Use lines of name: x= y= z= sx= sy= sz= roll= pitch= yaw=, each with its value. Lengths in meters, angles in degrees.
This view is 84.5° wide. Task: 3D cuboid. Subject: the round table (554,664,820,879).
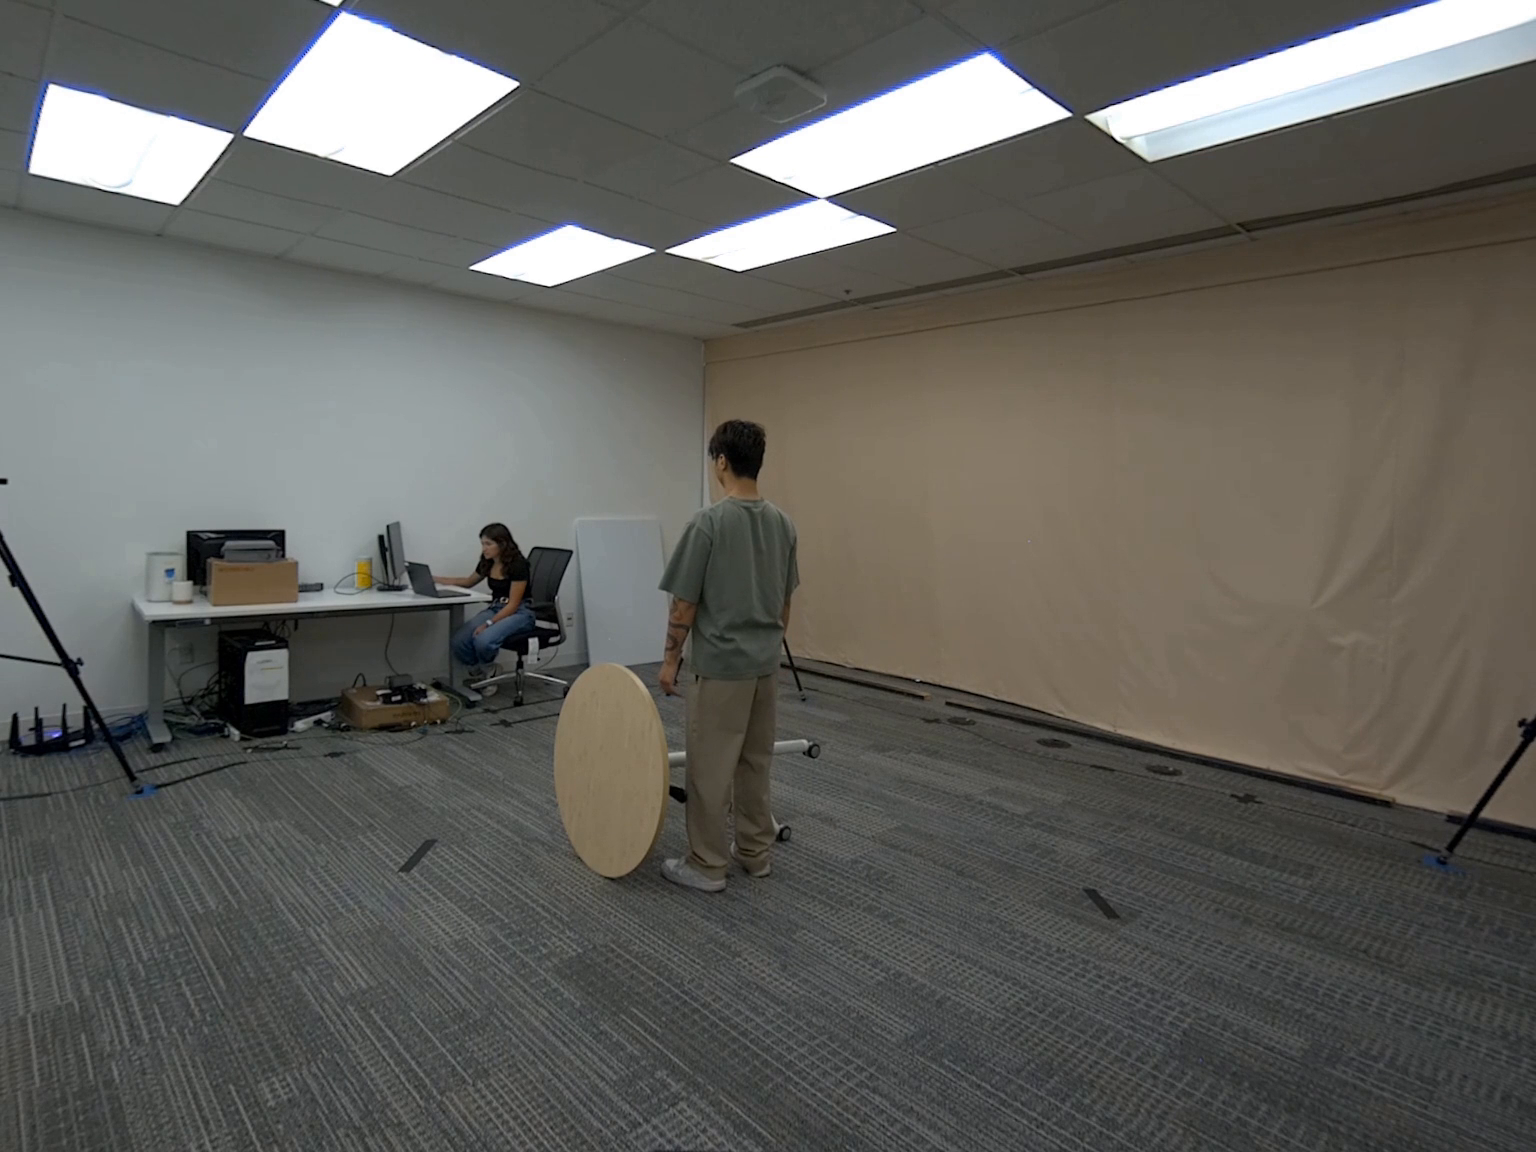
round table: x=-0.327 y=0.734 z=3.382 sx=0.766 sy=0.785 sz=0.805 roll=6 pitch=0 yaw=-41
